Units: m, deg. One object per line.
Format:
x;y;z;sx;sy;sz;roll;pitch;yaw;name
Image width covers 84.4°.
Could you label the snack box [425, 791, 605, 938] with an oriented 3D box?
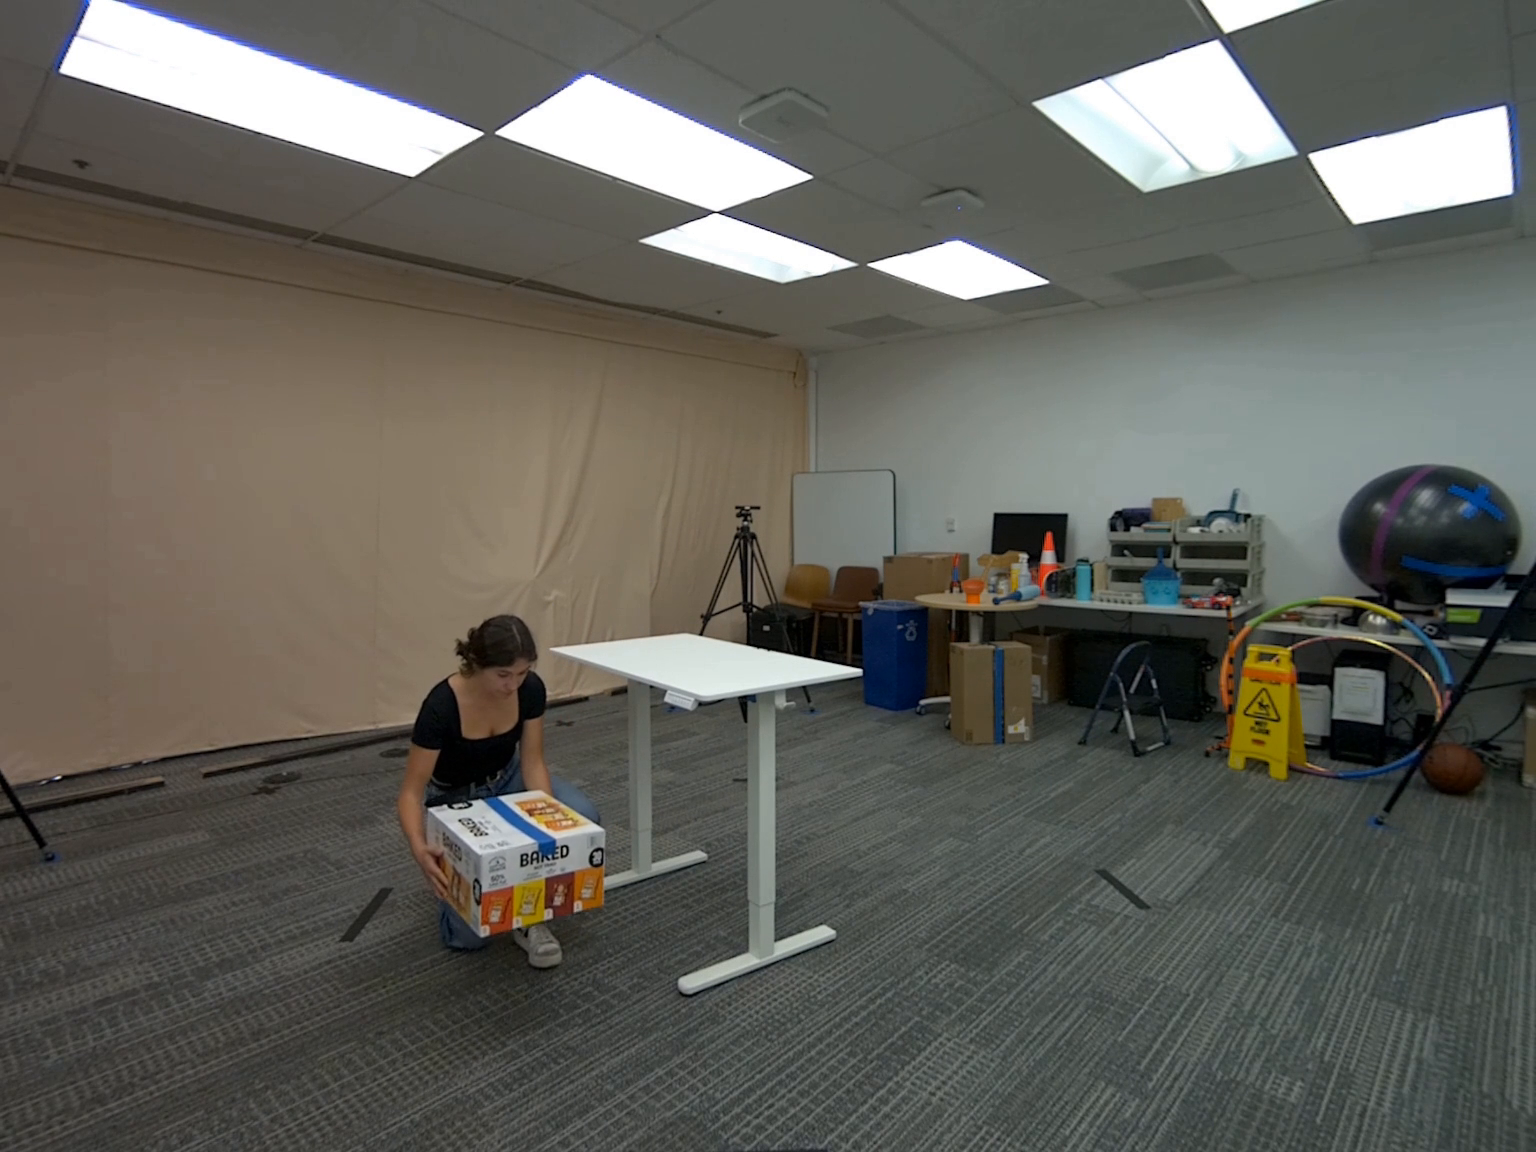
-0.692;0.760;2.276;0.330;0.205;0.418;0;3;-39;snack box
